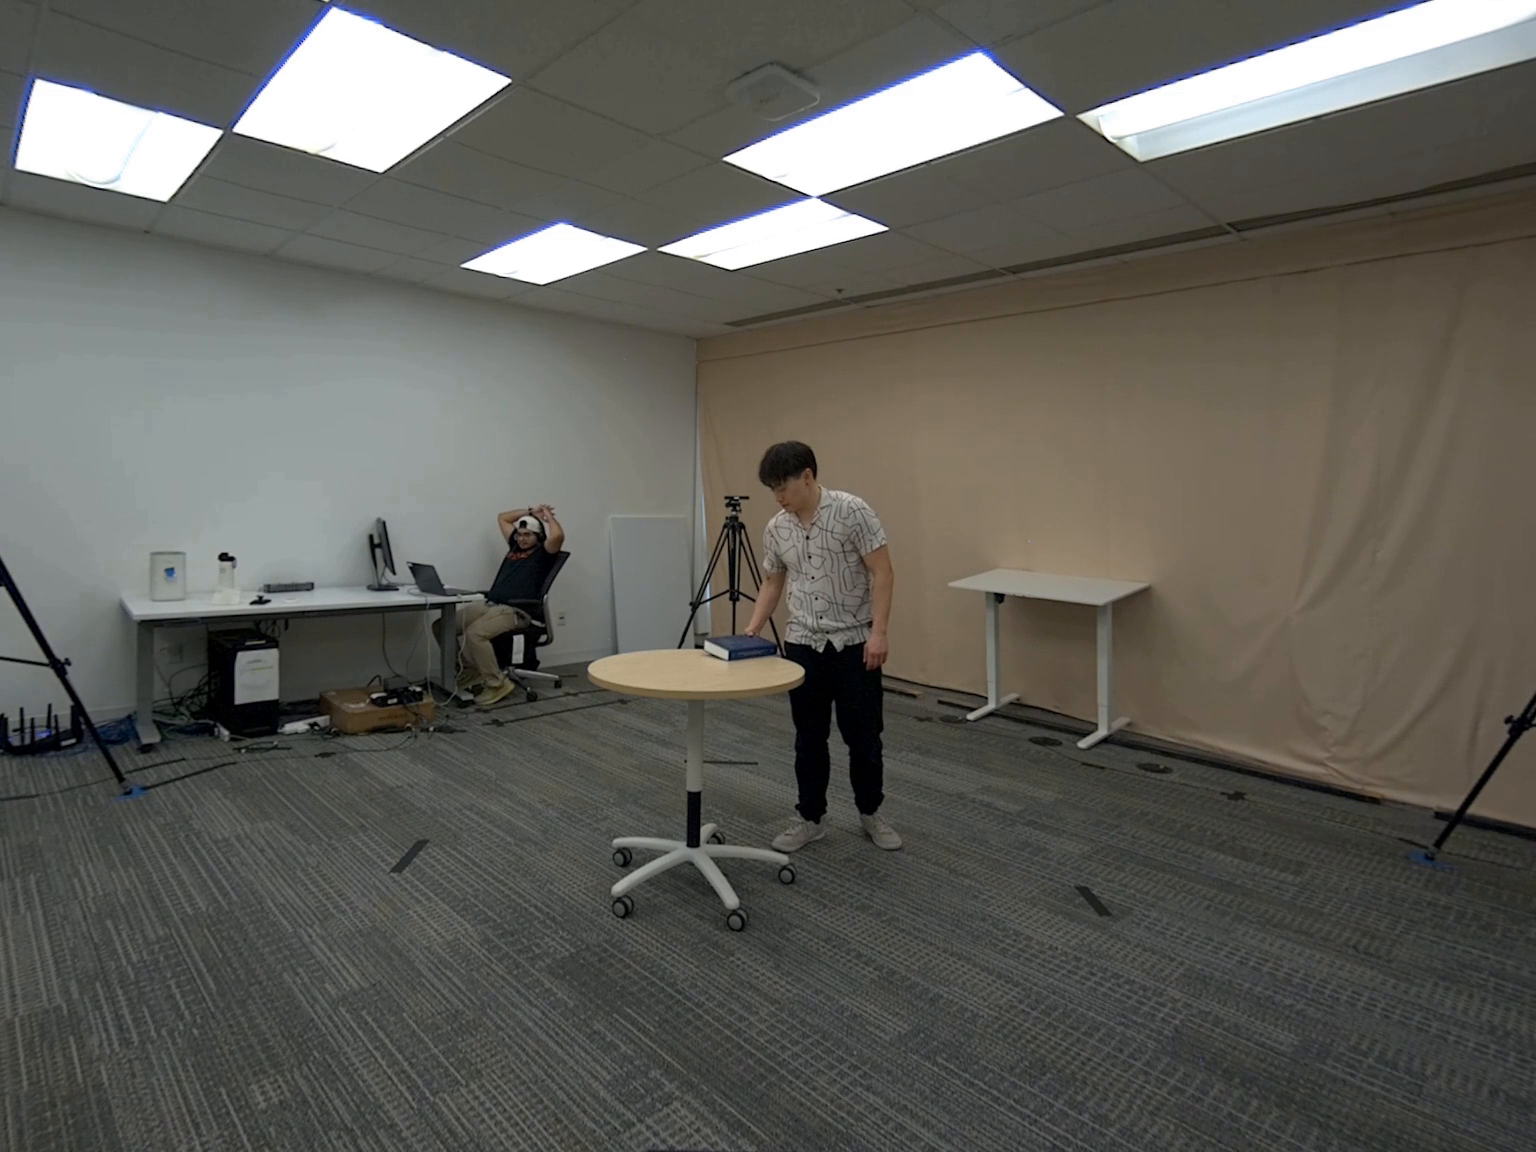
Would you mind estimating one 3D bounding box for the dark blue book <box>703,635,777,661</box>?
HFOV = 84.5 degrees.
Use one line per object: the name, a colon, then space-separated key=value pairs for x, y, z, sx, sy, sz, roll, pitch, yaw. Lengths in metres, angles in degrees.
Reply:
dark blue book: x=-0.123 y=0.276 z=3.254 sx=0.240 sy=0.045 sz=0.168 roll=-4 pitch=15 yaw=-42
